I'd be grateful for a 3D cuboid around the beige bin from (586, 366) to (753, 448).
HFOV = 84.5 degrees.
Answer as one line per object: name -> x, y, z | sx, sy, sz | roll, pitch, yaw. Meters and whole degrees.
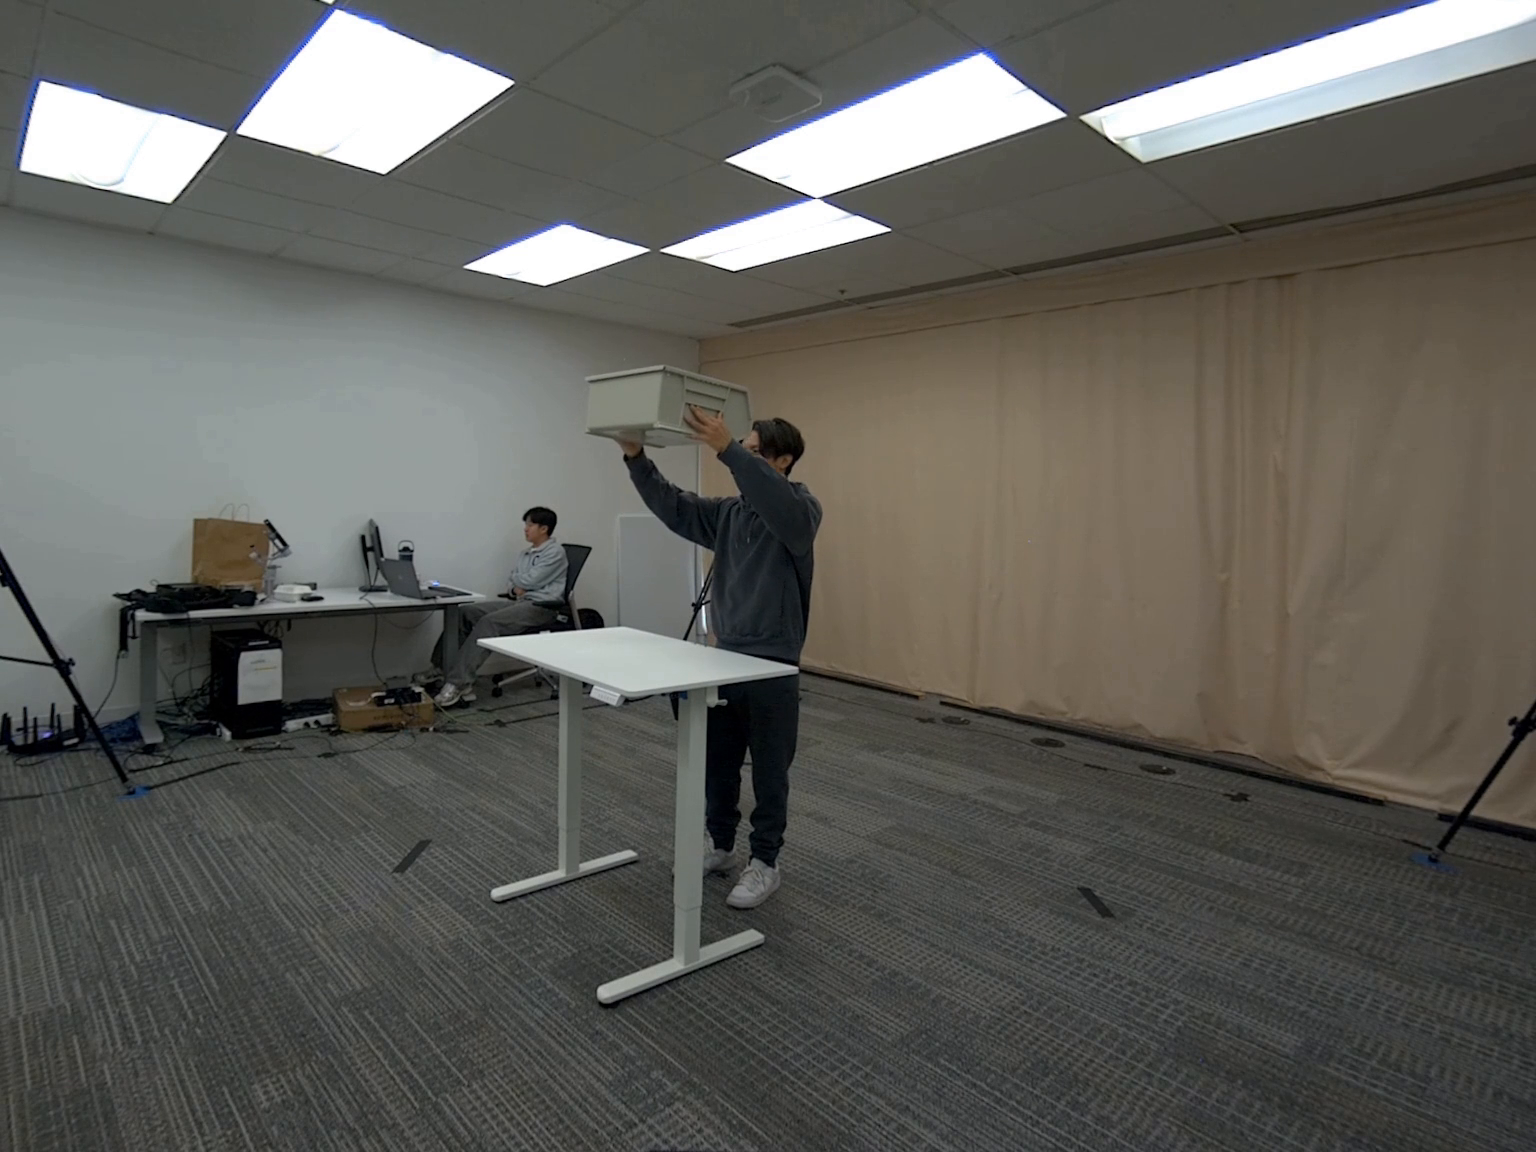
beige bin -> -0.326, -0.524, 2.695 | 0.368, 0.189, 0.433 | 4, 2, -43
